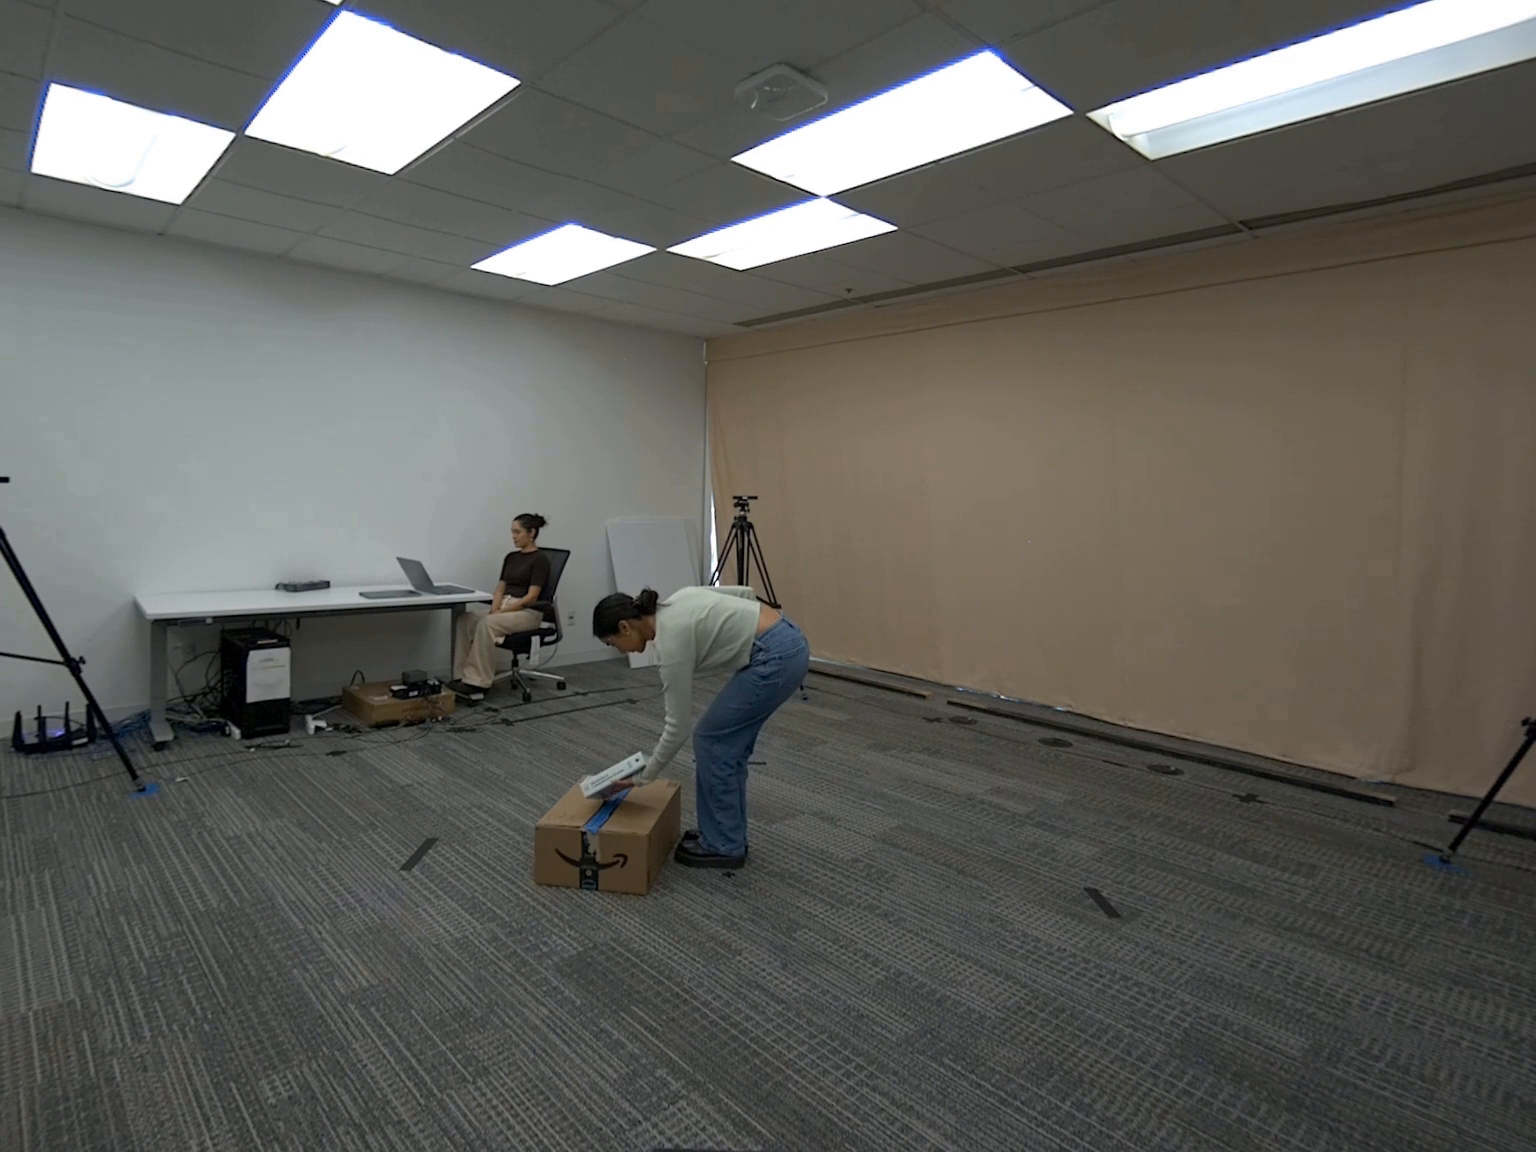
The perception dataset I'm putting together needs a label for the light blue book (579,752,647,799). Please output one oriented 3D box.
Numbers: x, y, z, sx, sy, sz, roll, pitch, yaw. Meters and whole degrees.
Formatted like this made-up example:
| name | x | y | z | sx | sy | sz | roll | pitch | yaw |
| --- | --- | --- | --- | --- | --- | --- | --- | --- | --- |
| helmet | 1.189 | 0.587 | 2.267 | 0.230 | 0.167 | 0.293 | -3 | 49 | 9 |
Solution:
| name | x | y | z | sx | sy | sz | roll | pitch | yaw |
| --- | --- | --- | --- | --- | --- | --- | --- | --- | --- |
| light blue book | -0.561 | 0.751 | 3.172 | 0.261 | 0.060 | 0.187 | -28 | -20 | 1 |
